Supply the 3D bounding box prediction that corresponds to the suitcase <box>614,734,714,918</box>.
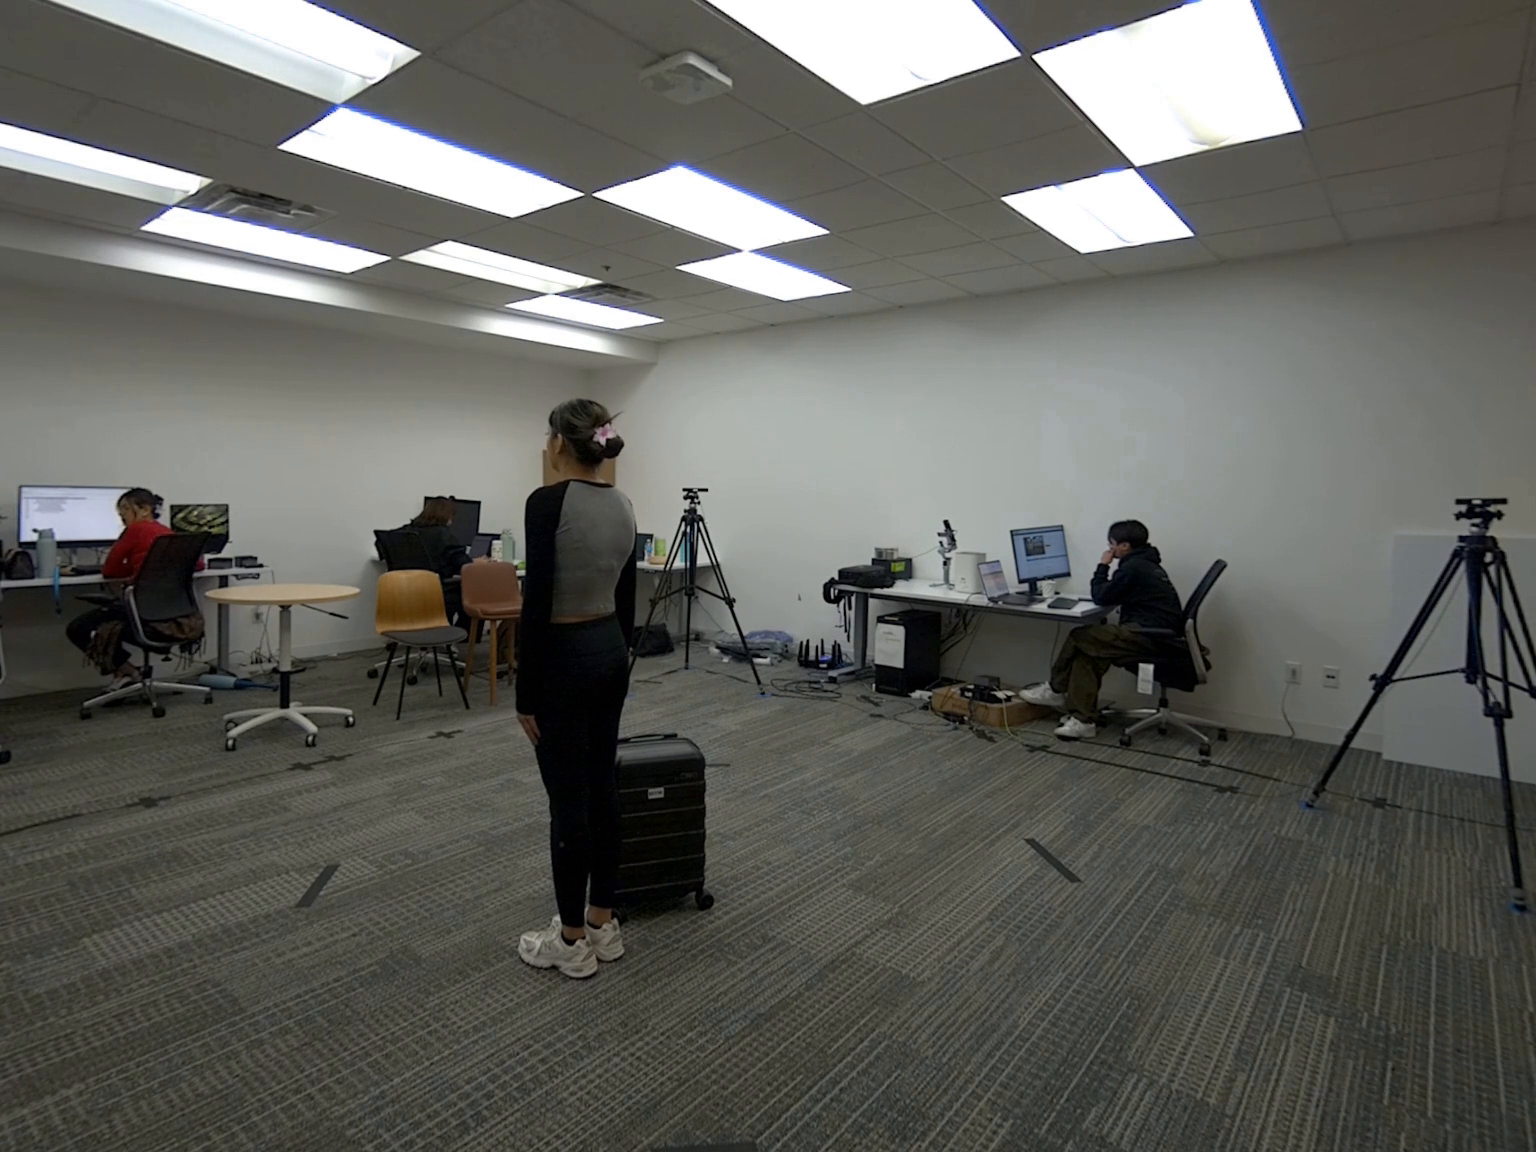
[{"bbox_3d":[-0.403,0.814,2.847,0.367,0.548,0.254,0,3,-23],"label":"suitcase"}]
